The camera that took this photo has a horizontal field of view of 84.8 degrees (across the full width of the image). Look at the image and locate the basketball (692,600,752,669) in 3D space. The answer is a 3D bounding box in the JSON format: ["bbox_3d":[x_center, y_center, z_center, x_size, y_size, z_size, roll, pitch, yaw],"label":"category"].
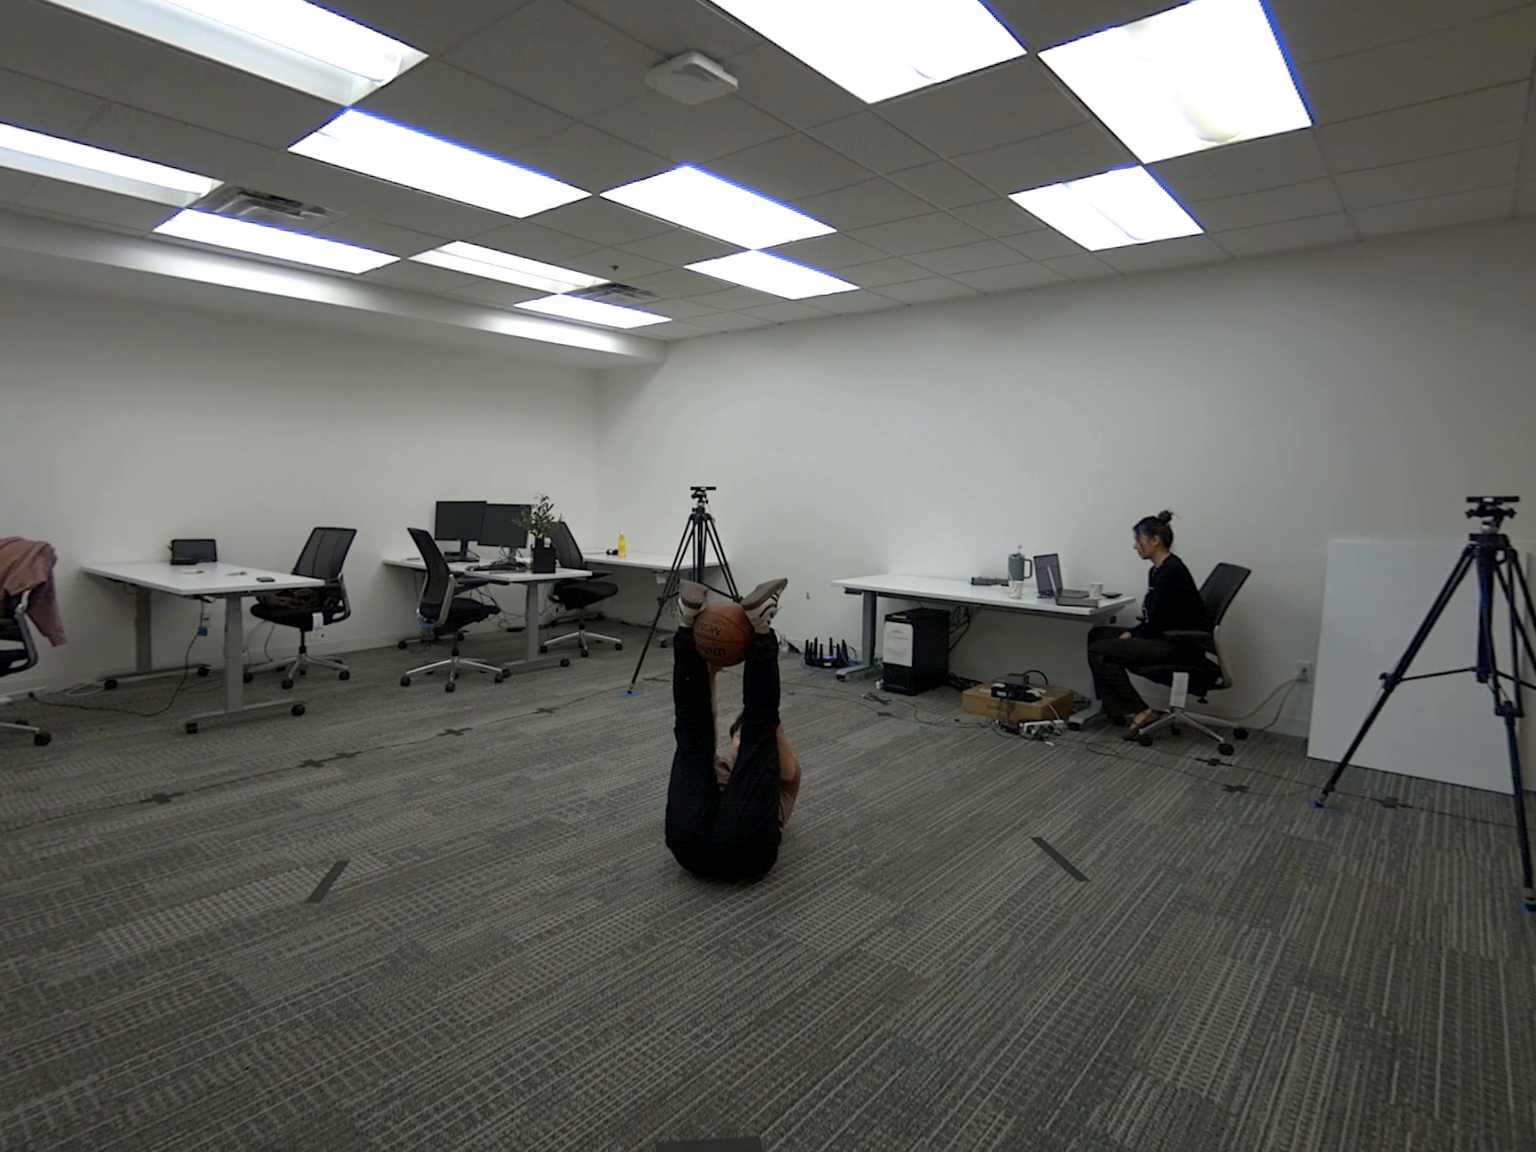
[{"bbox_3d":[-0.163,0.209,3.051,0.236,0.235,0.237,-3,3,-2],"label":"basketball"}]
